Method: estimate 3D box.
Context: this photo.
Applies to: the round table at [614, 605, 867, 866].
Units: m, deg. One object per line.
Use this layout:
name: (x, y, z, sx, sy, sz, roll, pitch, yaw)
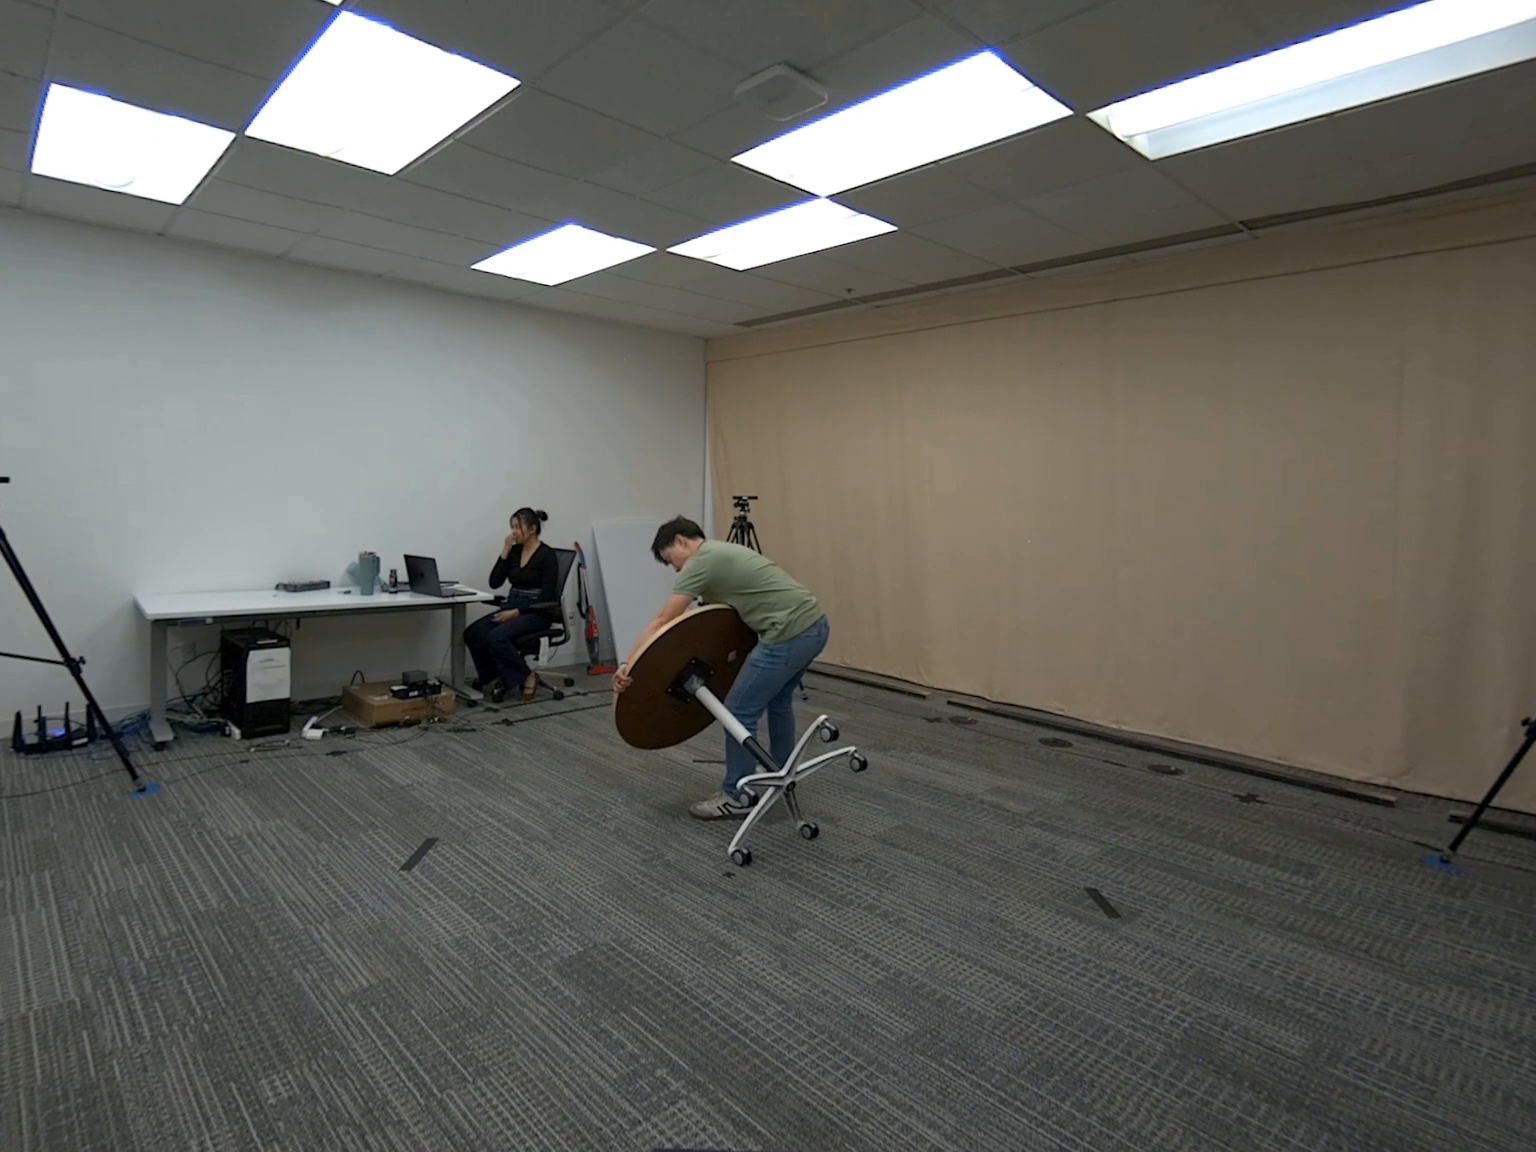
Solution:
round table: (-0.121, 0.656, 3.459, 0.746, 0.757, 0.819, -3, 32, -45)
